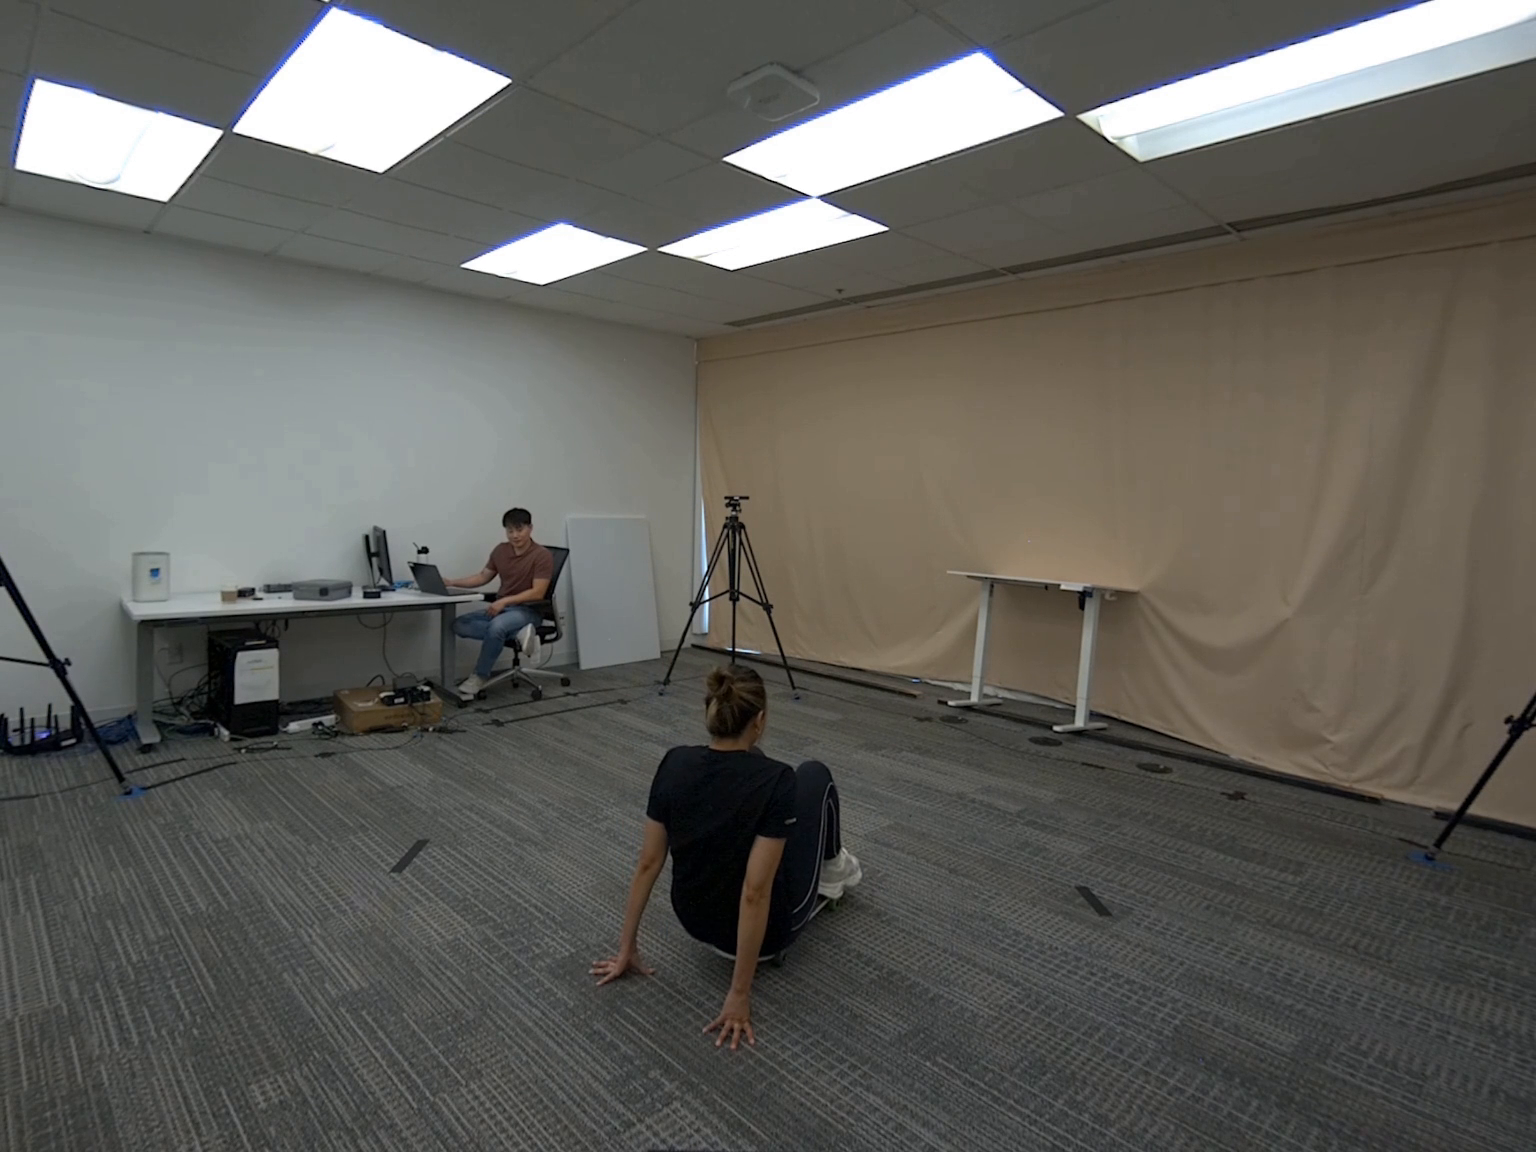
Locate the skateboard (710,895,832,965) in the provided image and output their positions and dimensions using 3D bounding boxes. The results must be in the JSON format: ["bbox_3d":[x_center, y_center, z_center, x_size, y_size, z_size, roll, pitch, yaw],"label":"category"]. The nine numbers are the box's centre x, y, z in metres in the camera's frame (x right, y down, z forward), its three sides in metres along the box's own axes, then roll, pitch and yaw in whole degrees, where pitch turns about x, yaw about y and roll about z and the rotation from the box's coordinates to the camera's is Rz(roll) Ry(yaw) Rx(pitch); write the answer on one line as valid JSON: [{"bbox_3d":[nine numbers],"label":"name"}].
[{"bbox_3d":[0.069,1.101,2.718,0.198,0.110,0.772,8,8,26],"label":"skateboard"}]
